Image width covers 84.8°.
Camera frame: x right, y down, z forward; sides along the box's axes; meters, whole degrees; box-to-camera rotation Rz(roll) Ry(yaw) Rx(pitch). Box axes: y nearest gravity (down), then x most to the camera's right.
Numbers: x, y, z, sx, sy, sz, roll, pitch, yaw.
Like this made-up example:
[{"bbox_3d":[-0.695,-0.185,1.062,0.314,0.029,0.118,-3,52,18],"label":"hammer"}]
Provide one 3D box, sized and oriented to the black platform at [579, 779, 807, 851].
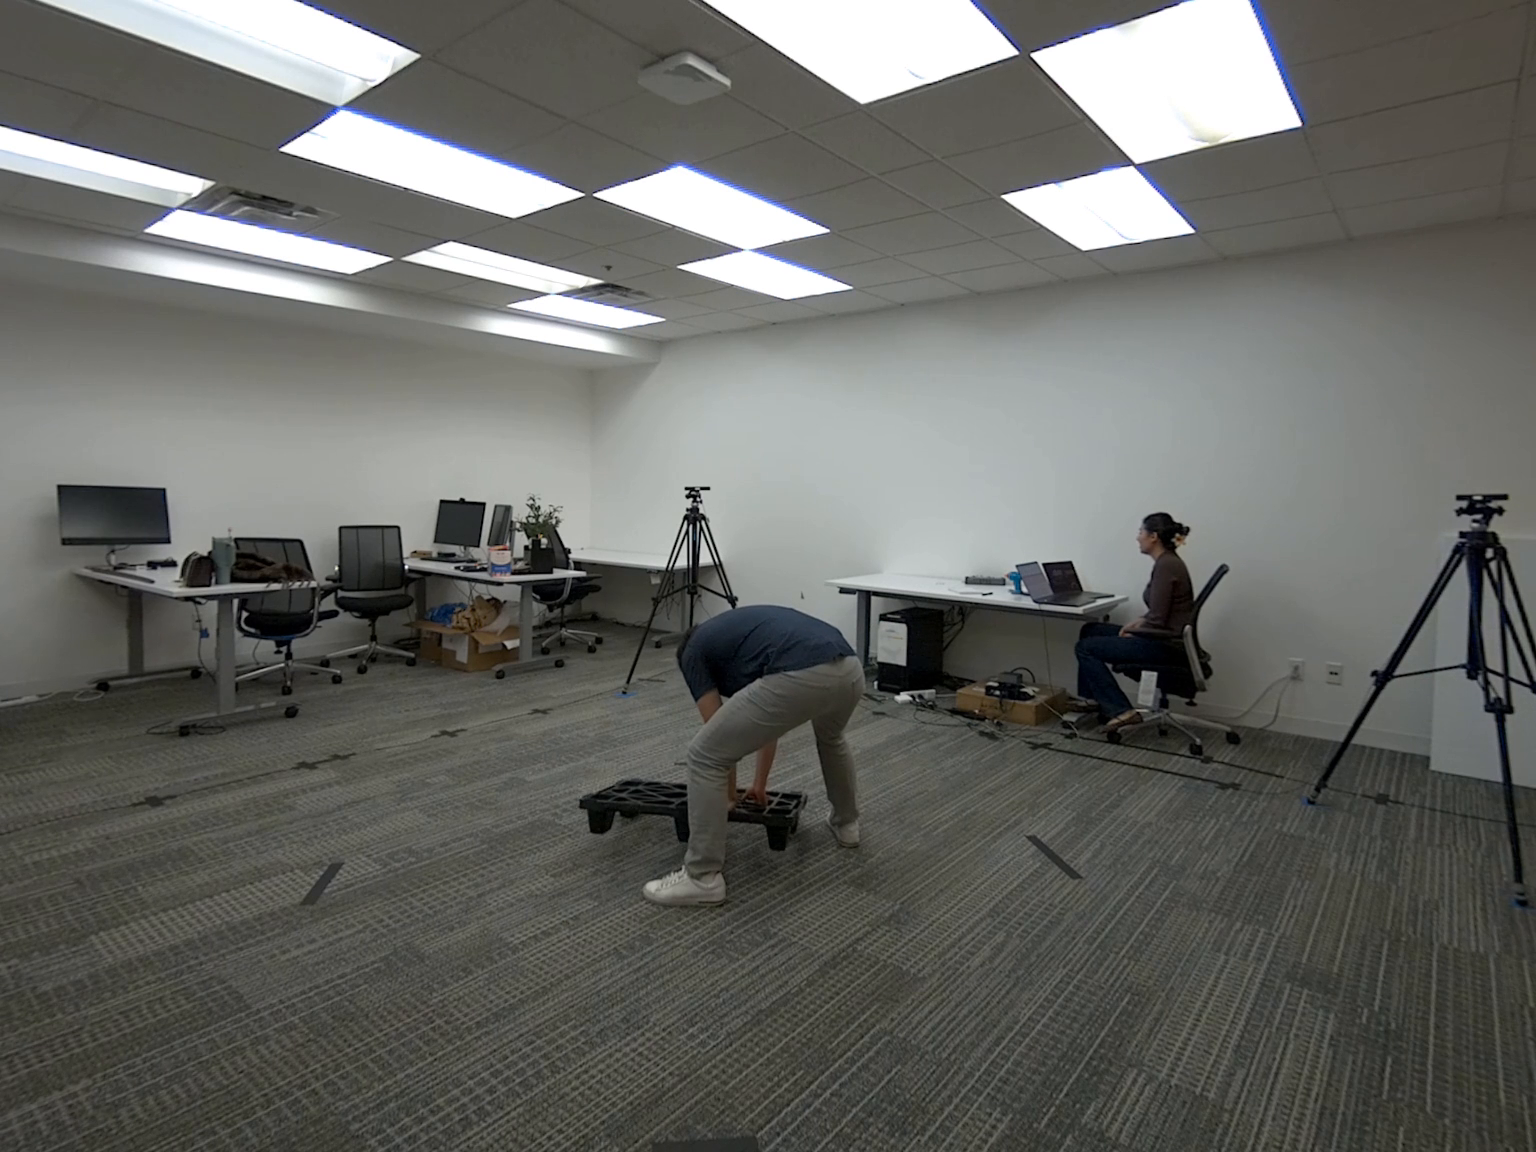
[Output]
[{"bbox_3d":[-0.281,0.932,3.339,0.815,0.144,0.594,1,-5,10],"label":"black platform"}]
